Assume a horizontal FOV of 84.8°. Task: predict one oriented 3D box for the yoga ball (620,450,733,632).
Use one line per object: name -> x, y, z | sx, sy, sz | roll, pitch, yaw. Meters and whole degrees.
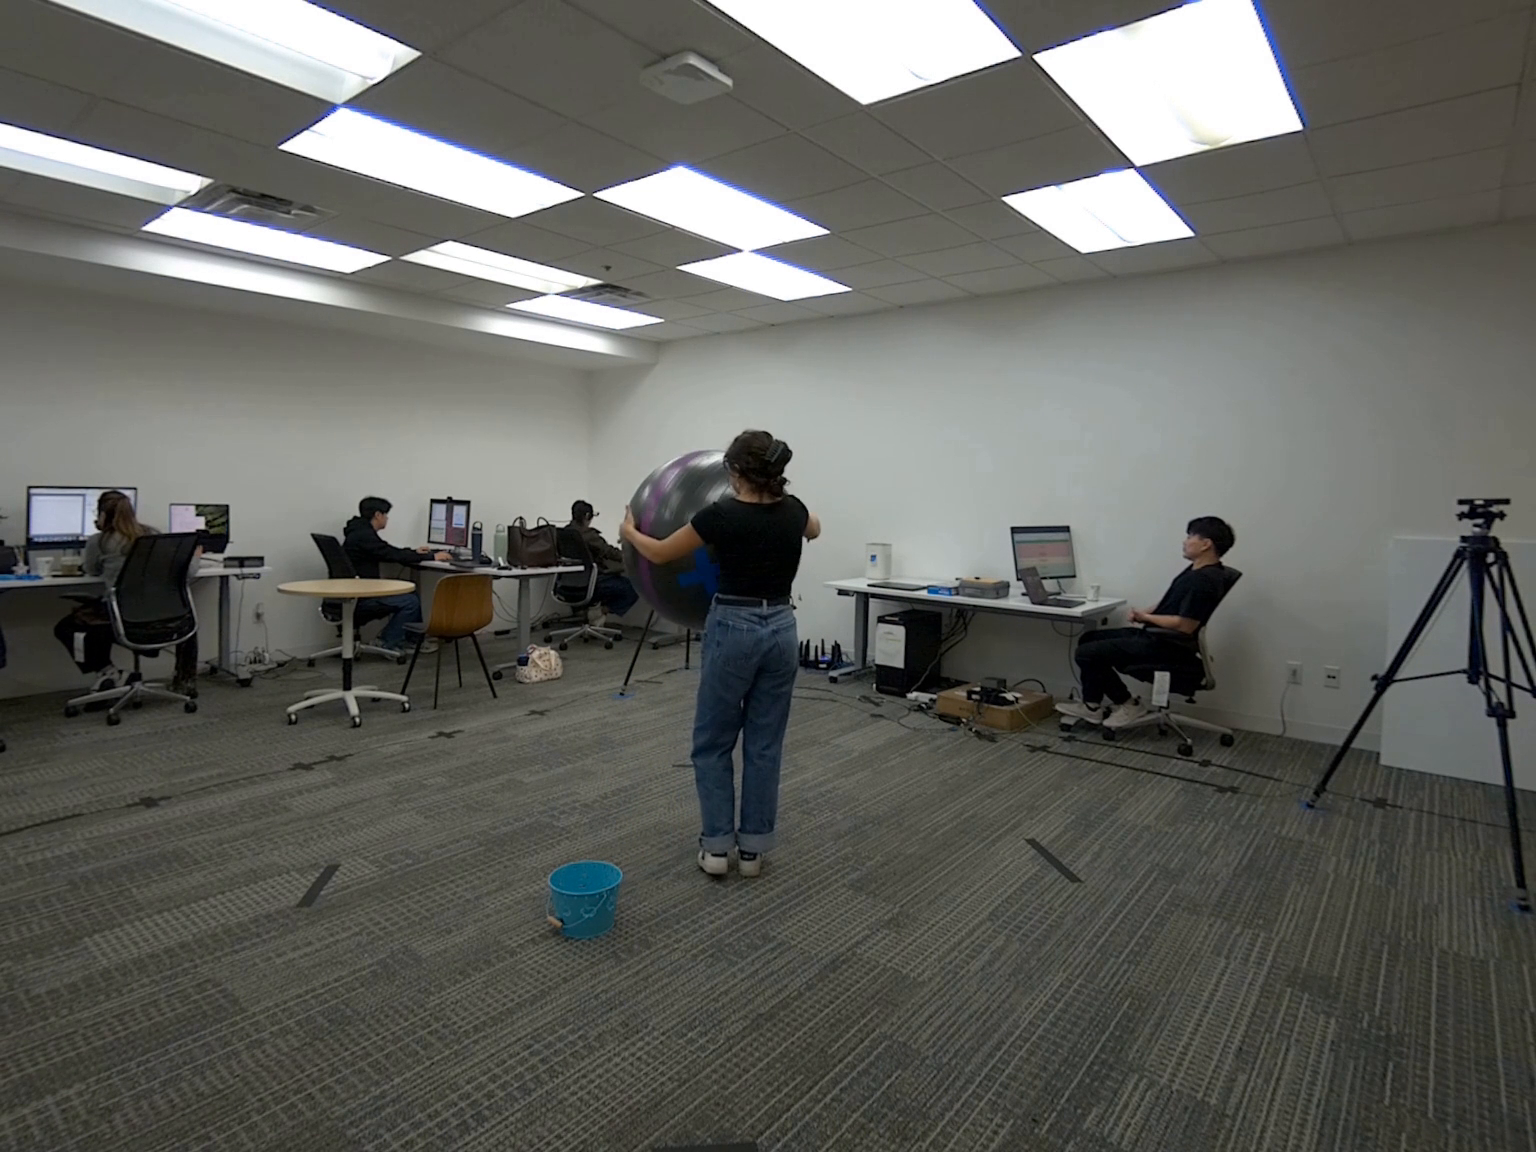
yoga ball -> -0.239, -0.146, 3.577 | 0.757, 0.755, 0.762 | 1, 4, -2
